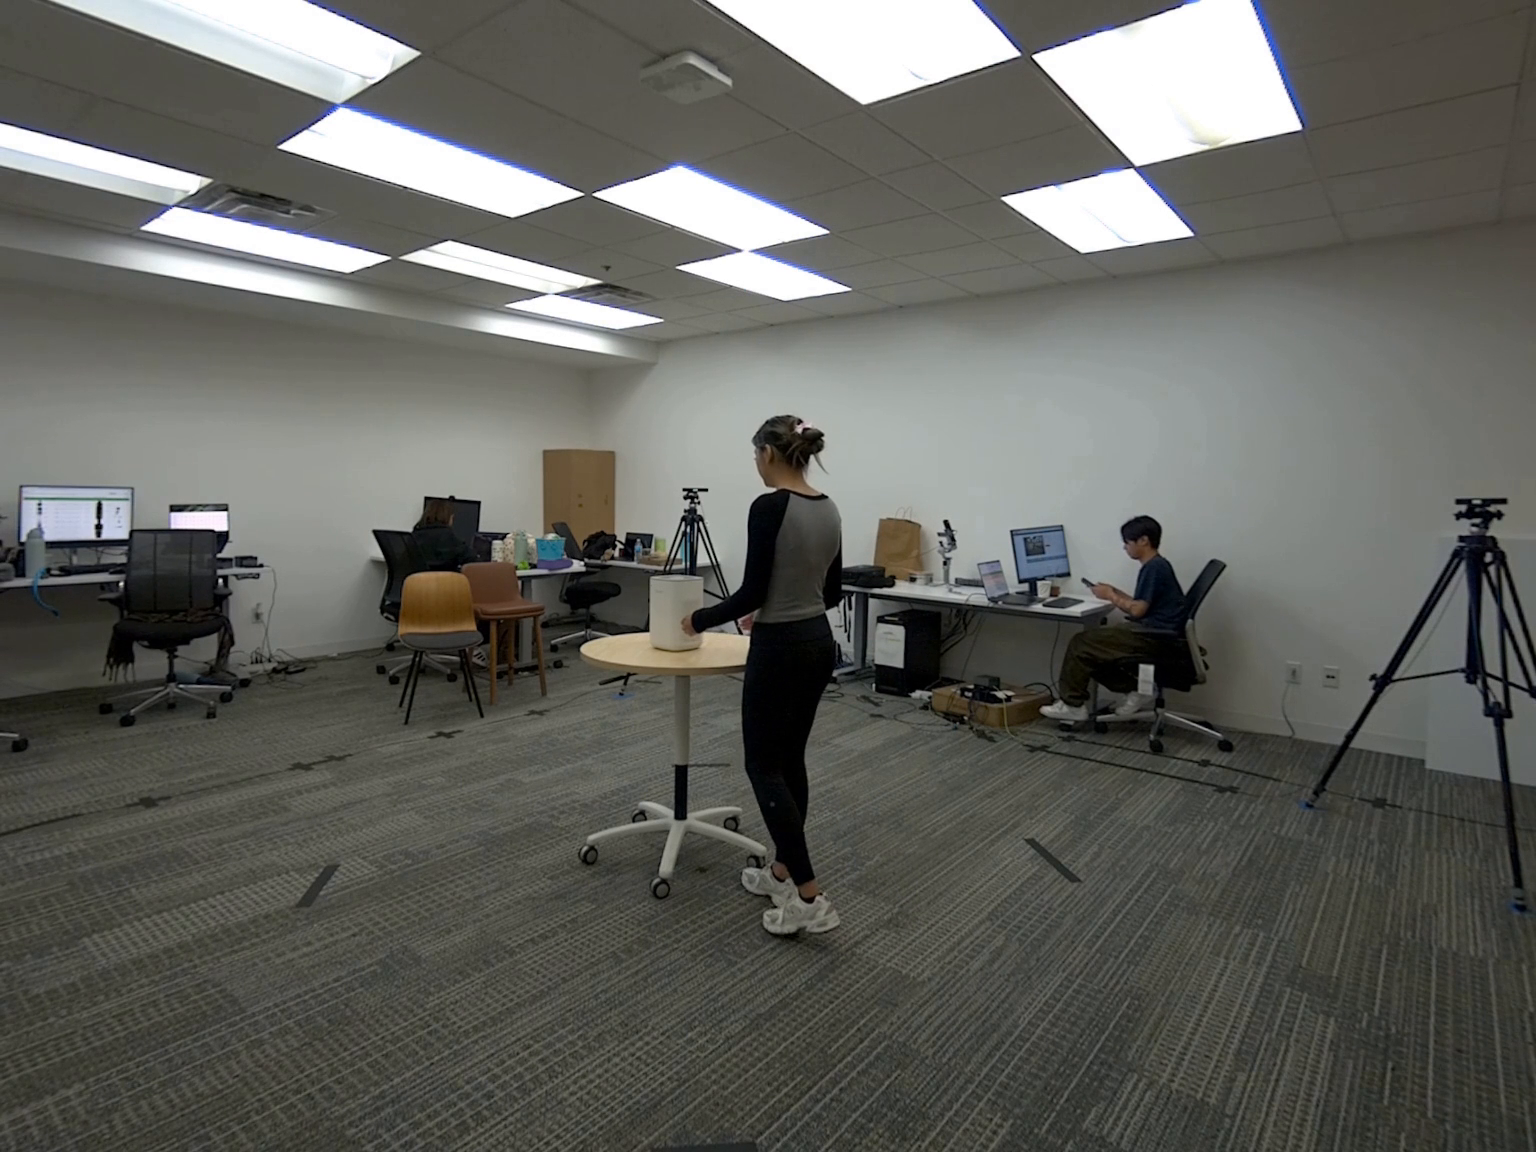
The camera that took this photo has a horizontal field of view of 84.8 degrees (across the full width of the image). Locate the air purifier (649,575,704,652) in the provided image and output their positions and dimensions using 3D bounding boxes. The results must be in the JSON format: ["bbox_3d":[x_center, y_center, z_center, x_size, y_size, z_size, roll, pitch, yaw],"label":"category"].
[{"bbox_3d":[-0.353,0.134,3.188,0.177,0.265,0.166,3,3,41],"label":"air purifier"}]
